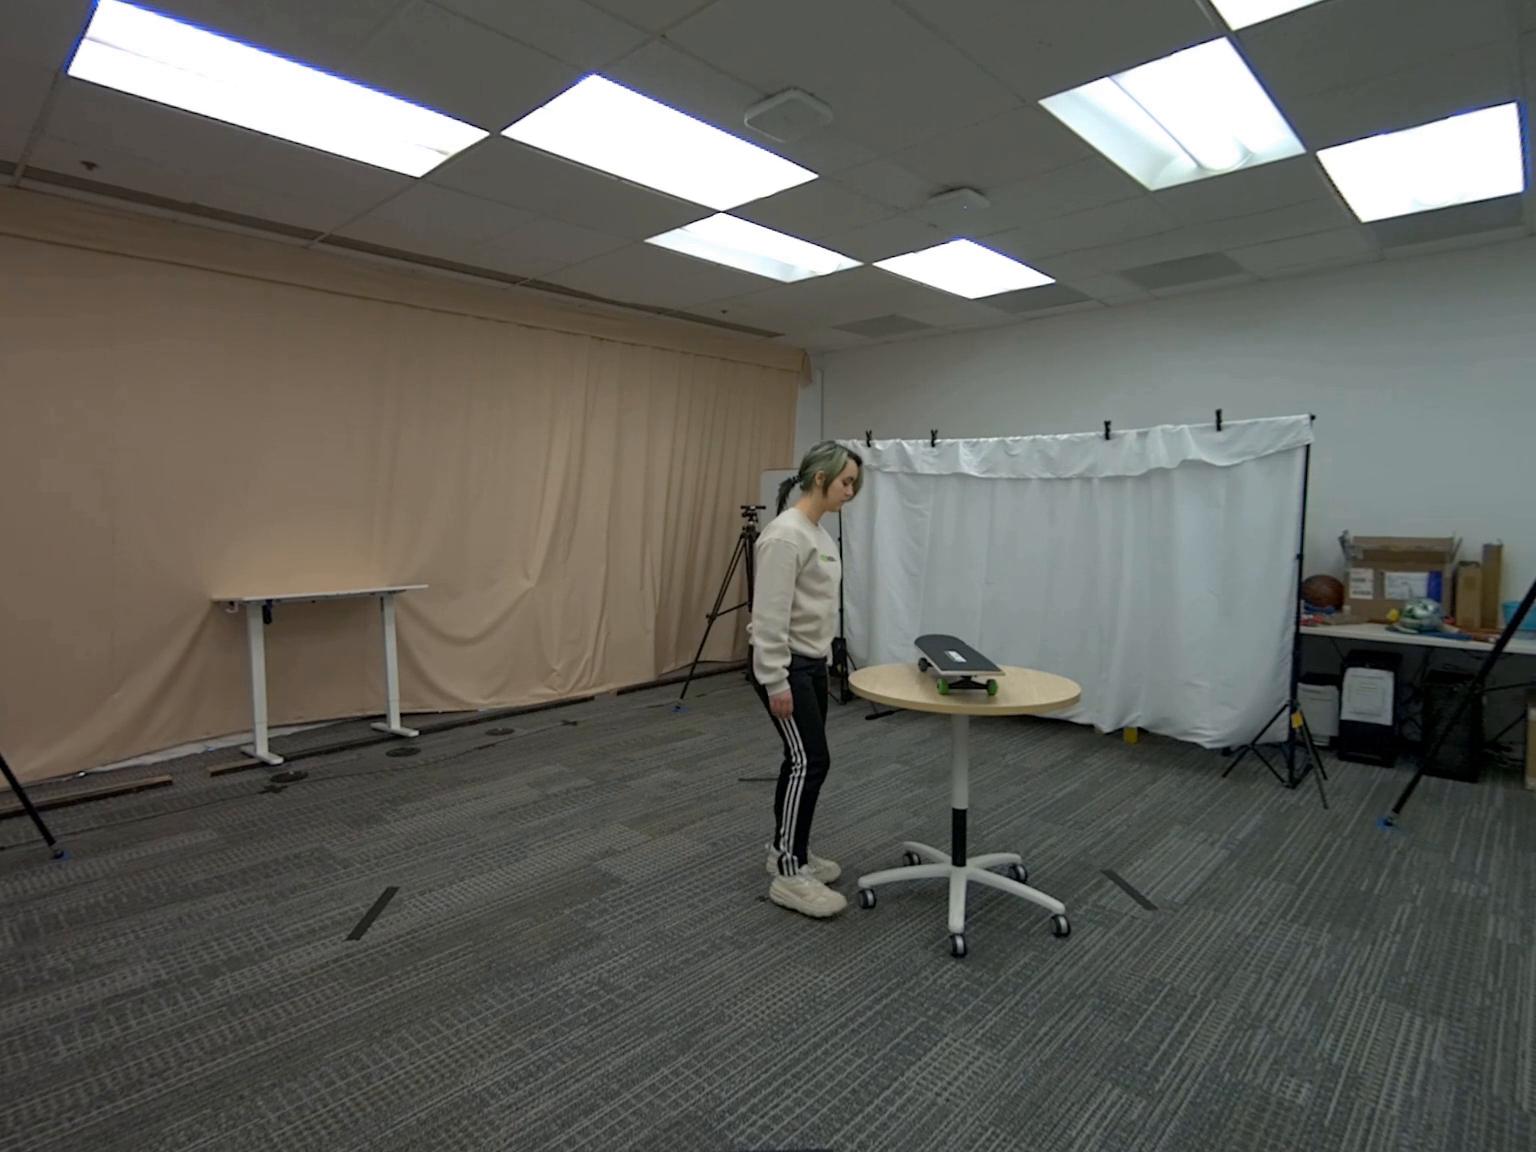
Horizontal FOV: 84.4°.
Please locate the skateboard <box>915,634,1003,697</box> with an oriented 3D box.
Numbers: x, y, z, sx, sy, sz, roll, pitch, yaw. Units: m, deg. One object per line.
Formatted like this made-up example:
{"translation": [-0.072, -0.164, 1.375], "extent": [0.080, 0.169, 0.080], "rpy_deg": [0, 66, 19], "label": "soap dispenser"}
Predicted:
{"translation": [0.651, 0.320, 2.890], "extent": [0.194, 0.110, 0.785], "rpy_deg": [0, 4, 1], "label": "skateboard"}
